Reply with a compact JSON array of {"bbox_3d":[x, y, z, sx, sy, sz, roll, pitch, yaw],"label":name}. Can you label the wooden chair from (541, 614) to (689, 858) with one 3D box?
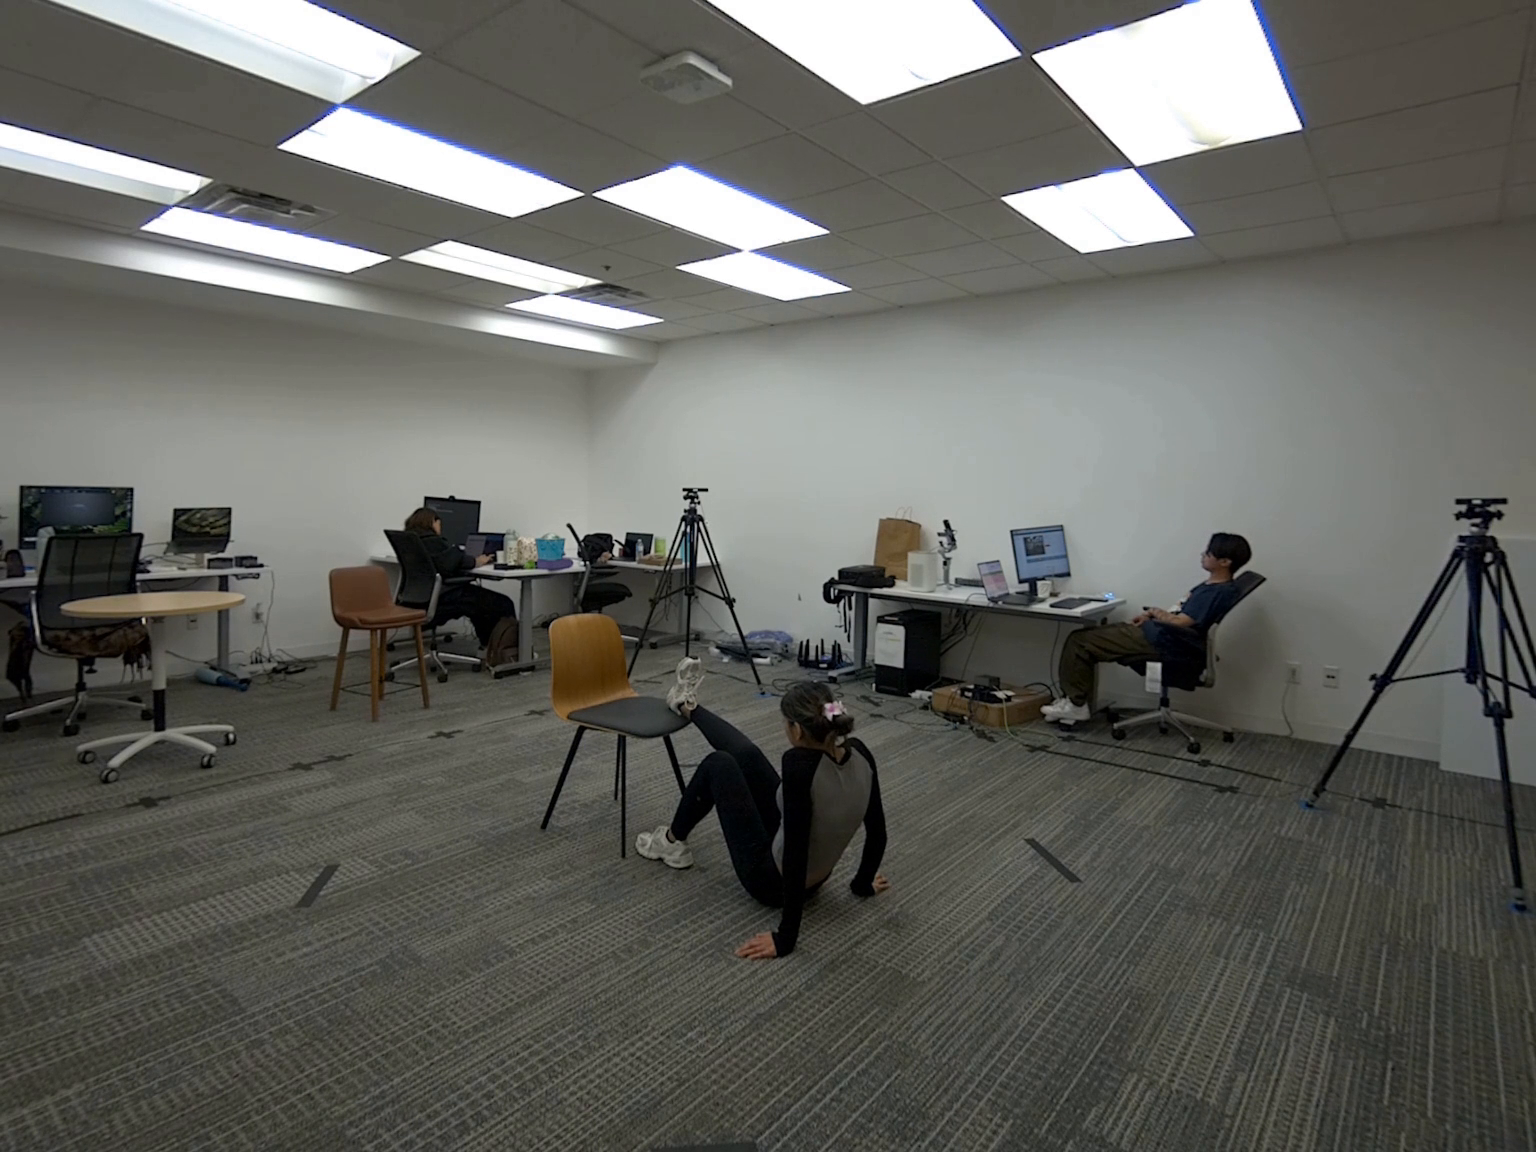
[{"bbox_3d":[-0.606,0.600,3.467,0.538,0.877,0.464,-2,1,34],"label":"wooden chair"}]
